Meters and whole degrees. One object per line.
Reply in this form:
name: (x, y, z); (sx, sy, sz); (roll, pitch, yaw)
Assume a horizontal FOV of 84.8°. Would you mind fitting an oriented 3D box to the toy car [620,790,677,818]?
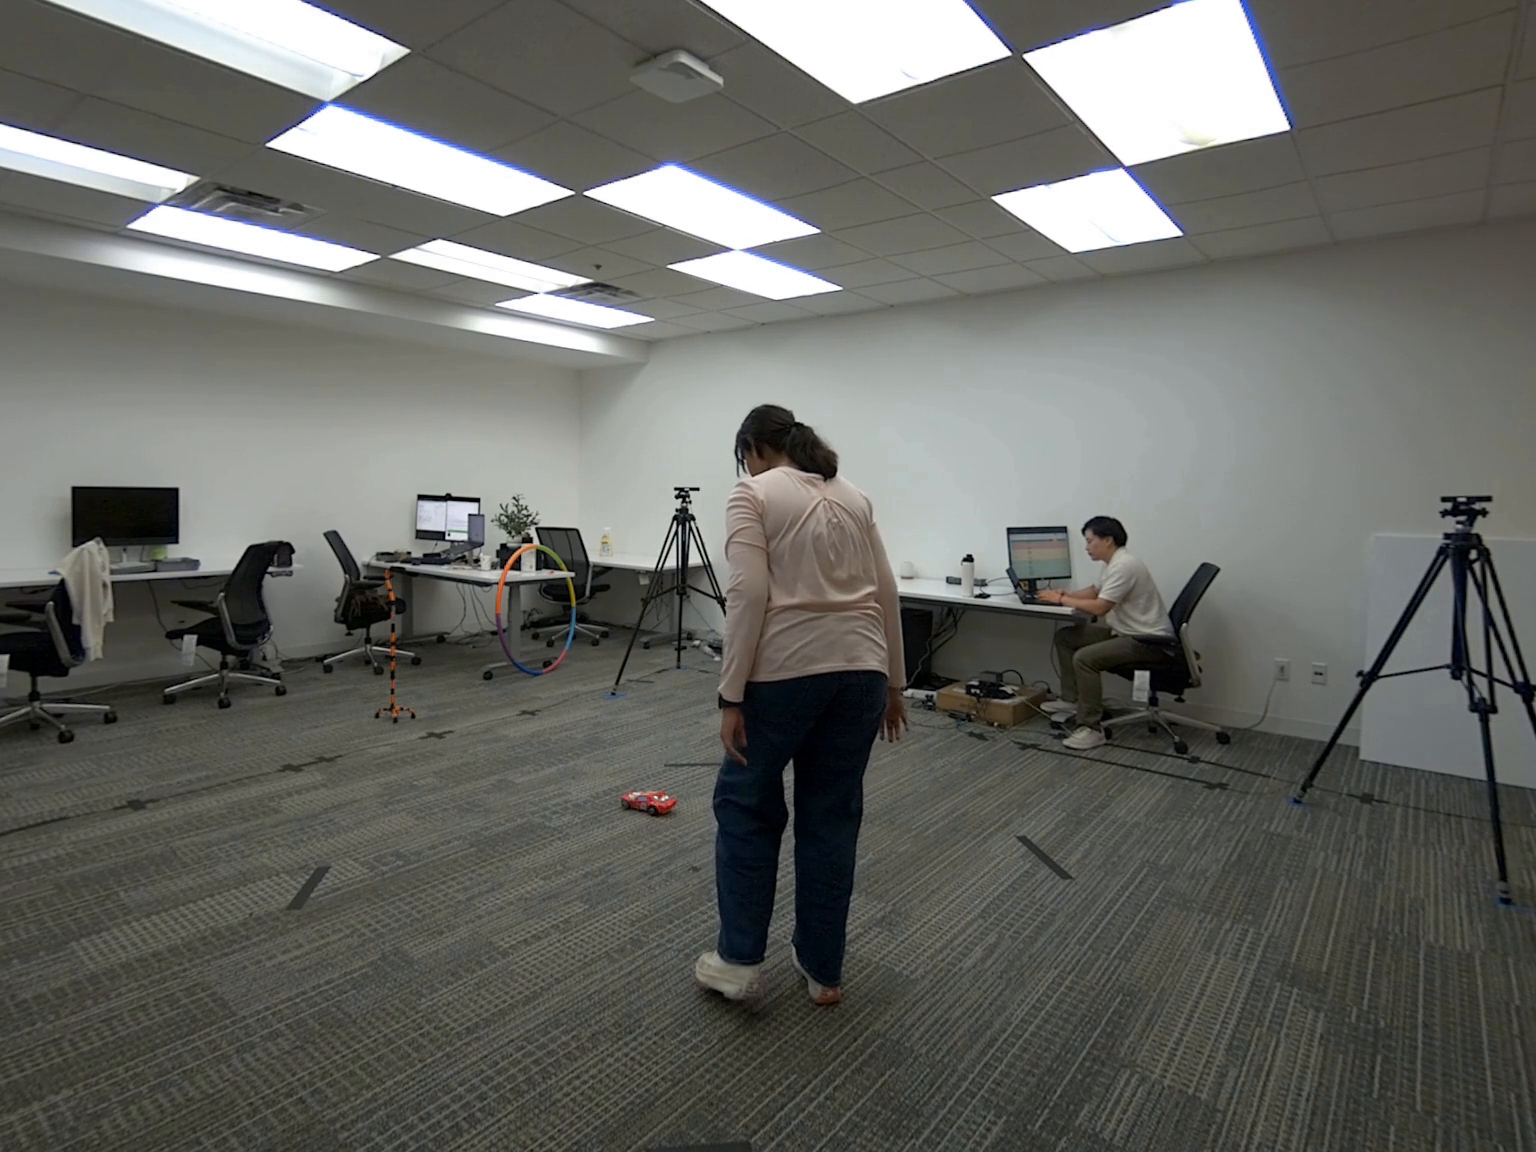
toy car: (-0.521, 0.975, 3.673); (0.260, 0.083, 0.127); (-9, -1, 30)
